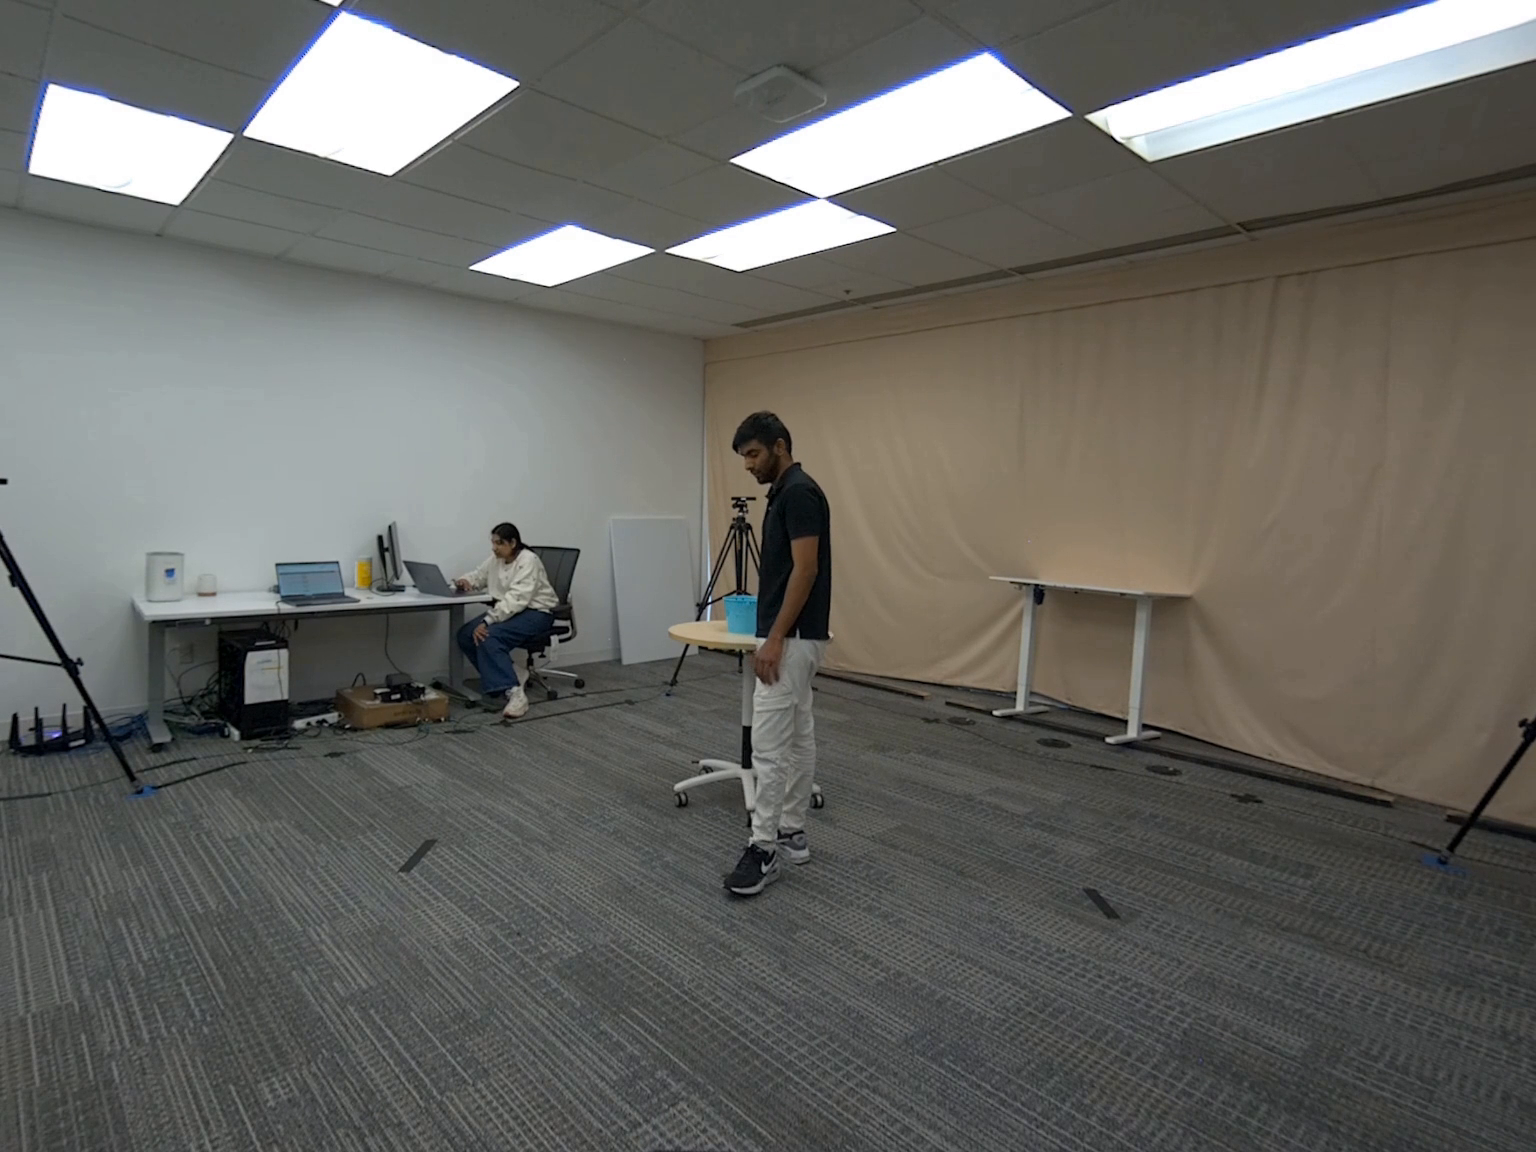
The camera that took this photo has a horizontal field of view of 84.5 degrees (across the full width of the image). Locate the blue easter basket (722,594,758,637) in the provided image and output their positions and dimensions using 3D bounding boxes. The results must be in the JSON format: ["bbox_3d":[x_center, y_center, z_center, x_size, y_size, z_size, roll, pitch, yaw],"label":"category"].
[{"bbox_3d":[-0.106,0.179,3.919,0.243,0.155,0.244,1,3,-1],"label":"blue easter basket"}]
